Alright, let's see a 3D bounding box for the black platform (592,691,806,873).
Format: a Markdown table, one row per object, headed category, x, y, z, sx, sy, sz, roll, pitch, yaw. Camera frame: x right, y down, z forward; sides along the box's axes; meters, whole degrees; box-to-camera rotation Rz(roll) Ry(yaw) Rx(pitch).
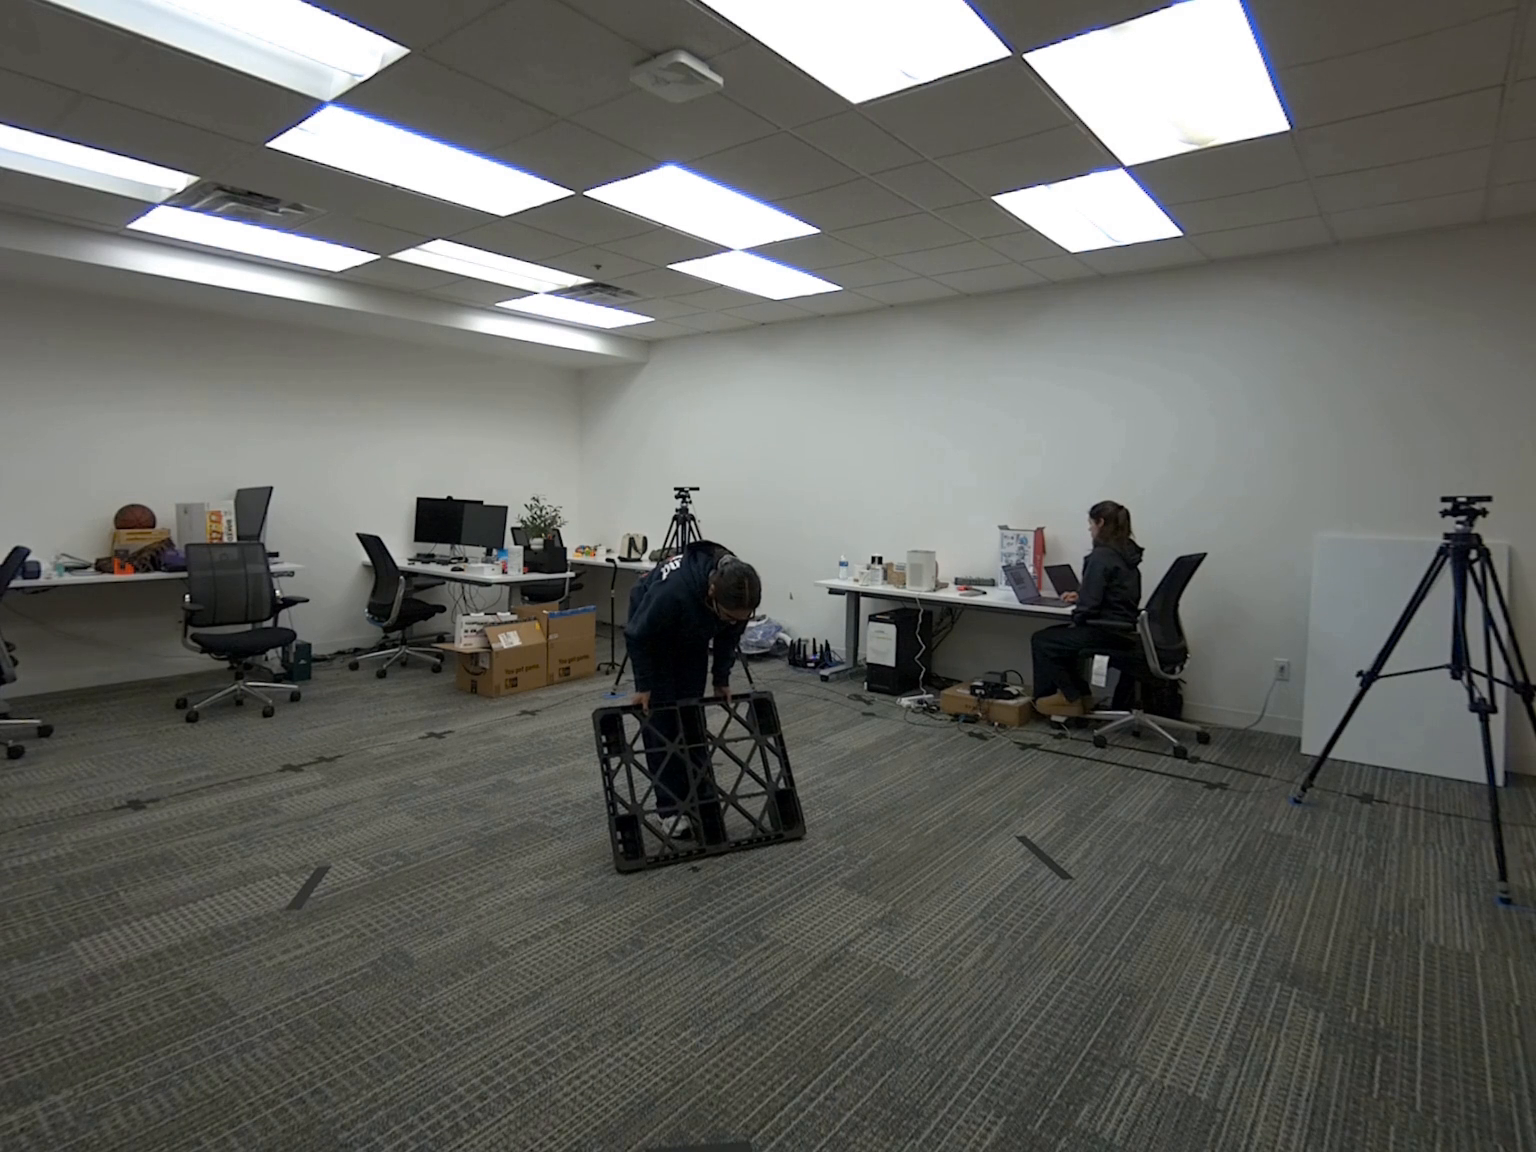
| category | x | y | z | sx | sy | sz | roll | pitch | yaw |
| --- | --- | --- | --- | --- | --- | --- | --- | --- | --- |
| black platform | -0.290 | 0.800 | 3.377 | 0.785 | 0.620 | 0.143 | -1 | -25 | -27 |
